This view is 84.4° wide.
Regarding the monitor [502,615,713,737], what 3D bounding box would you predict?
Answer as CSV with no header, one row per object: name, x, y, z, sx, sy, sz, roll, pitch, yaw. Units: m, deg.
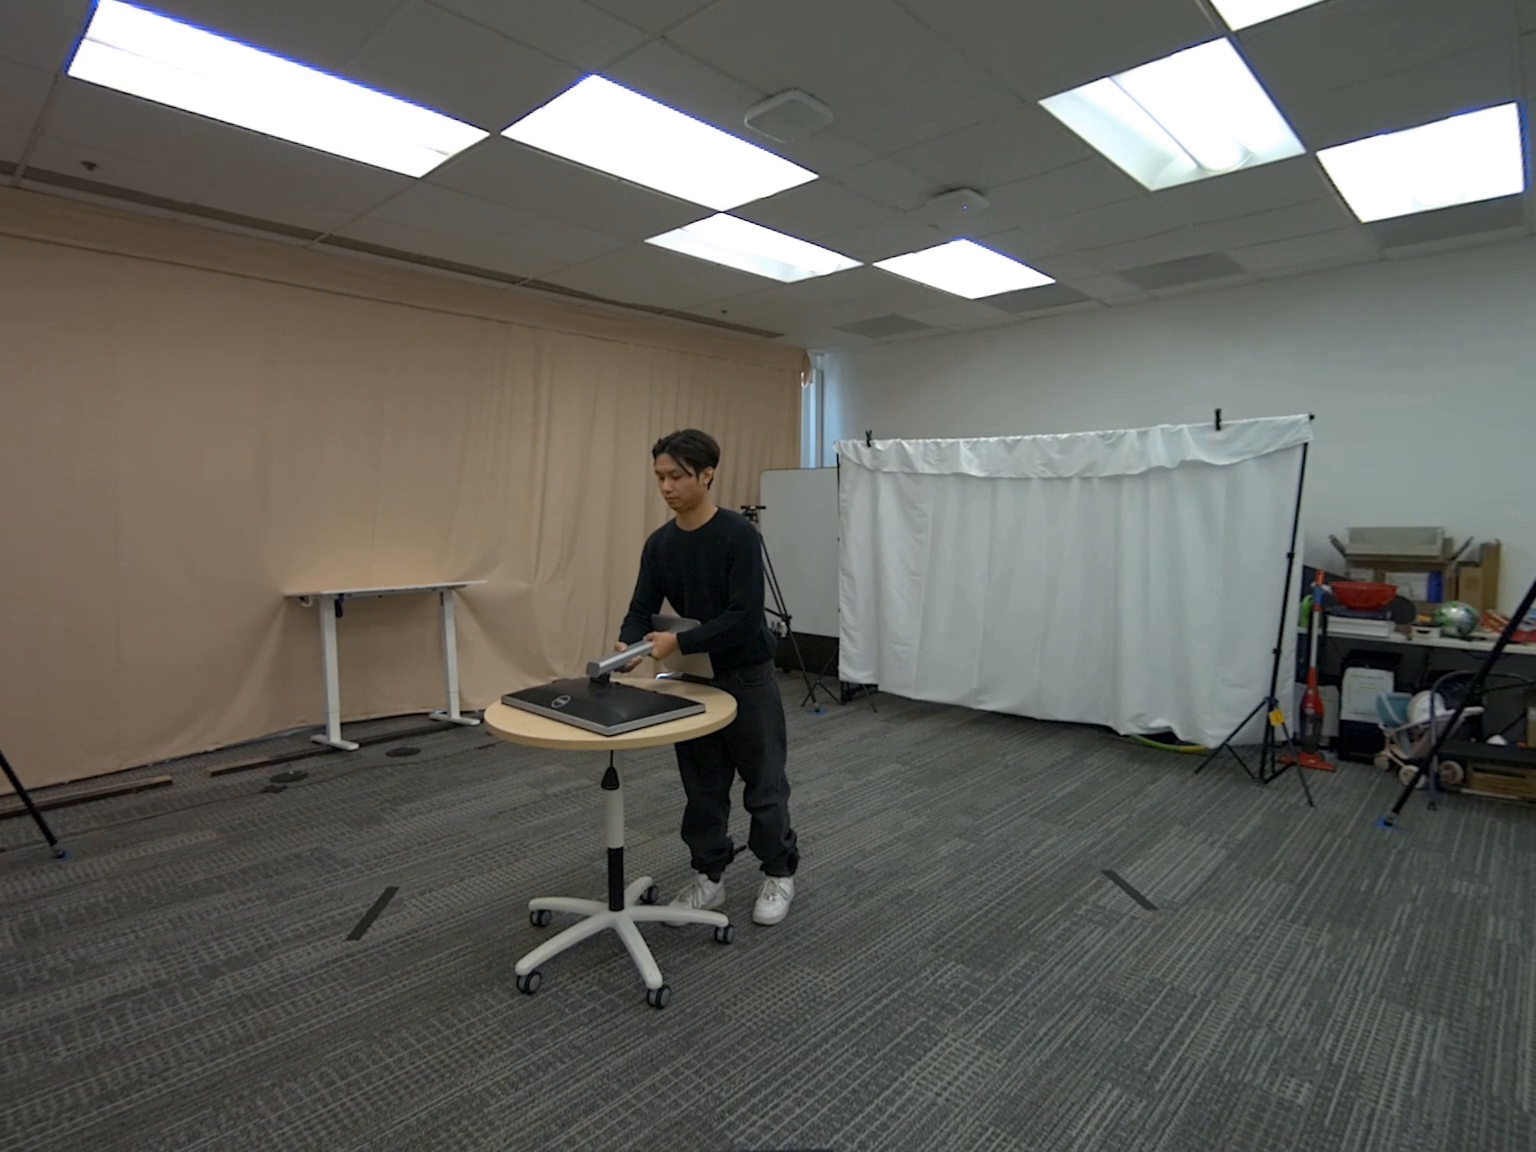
monitor,-0.460,0.320,2.599,0.556,0.185,0.511,1,20,45
